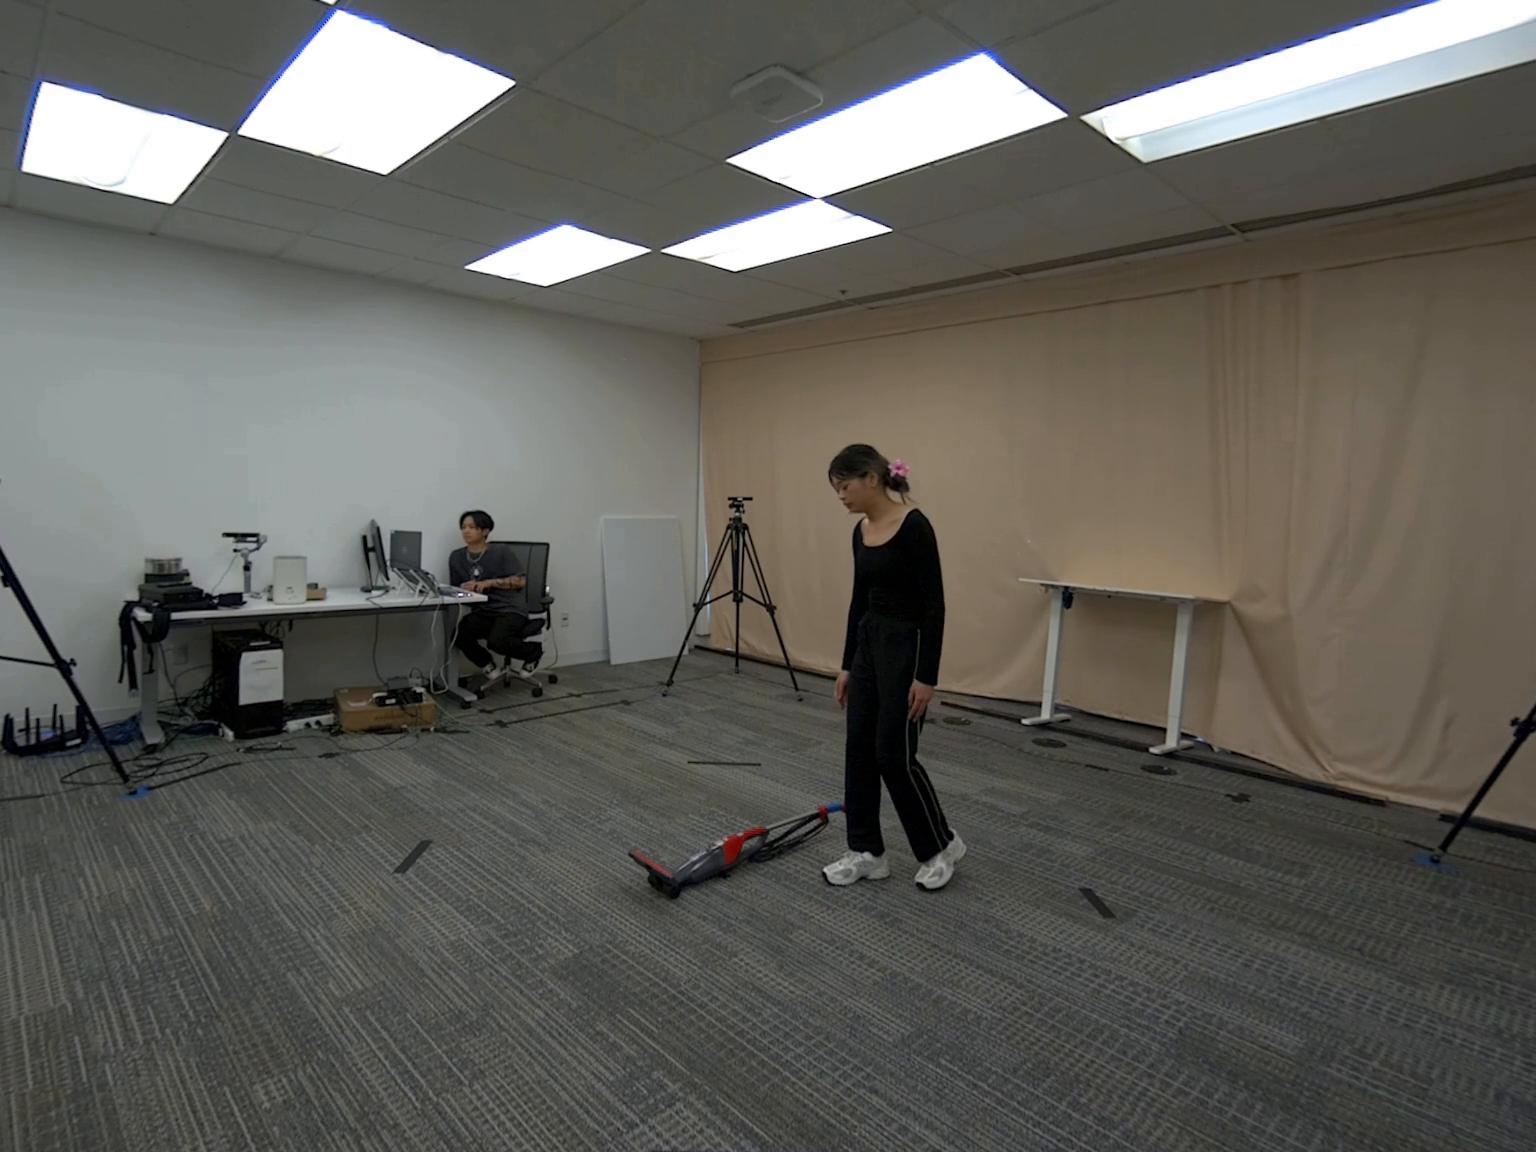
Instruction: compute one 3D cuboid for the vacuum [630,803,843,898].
[{"bbox_3d":[-0.019,1.036,3.276,1.025,0.143,0.259,-2,8,-43],"label":"vacuum"}]
